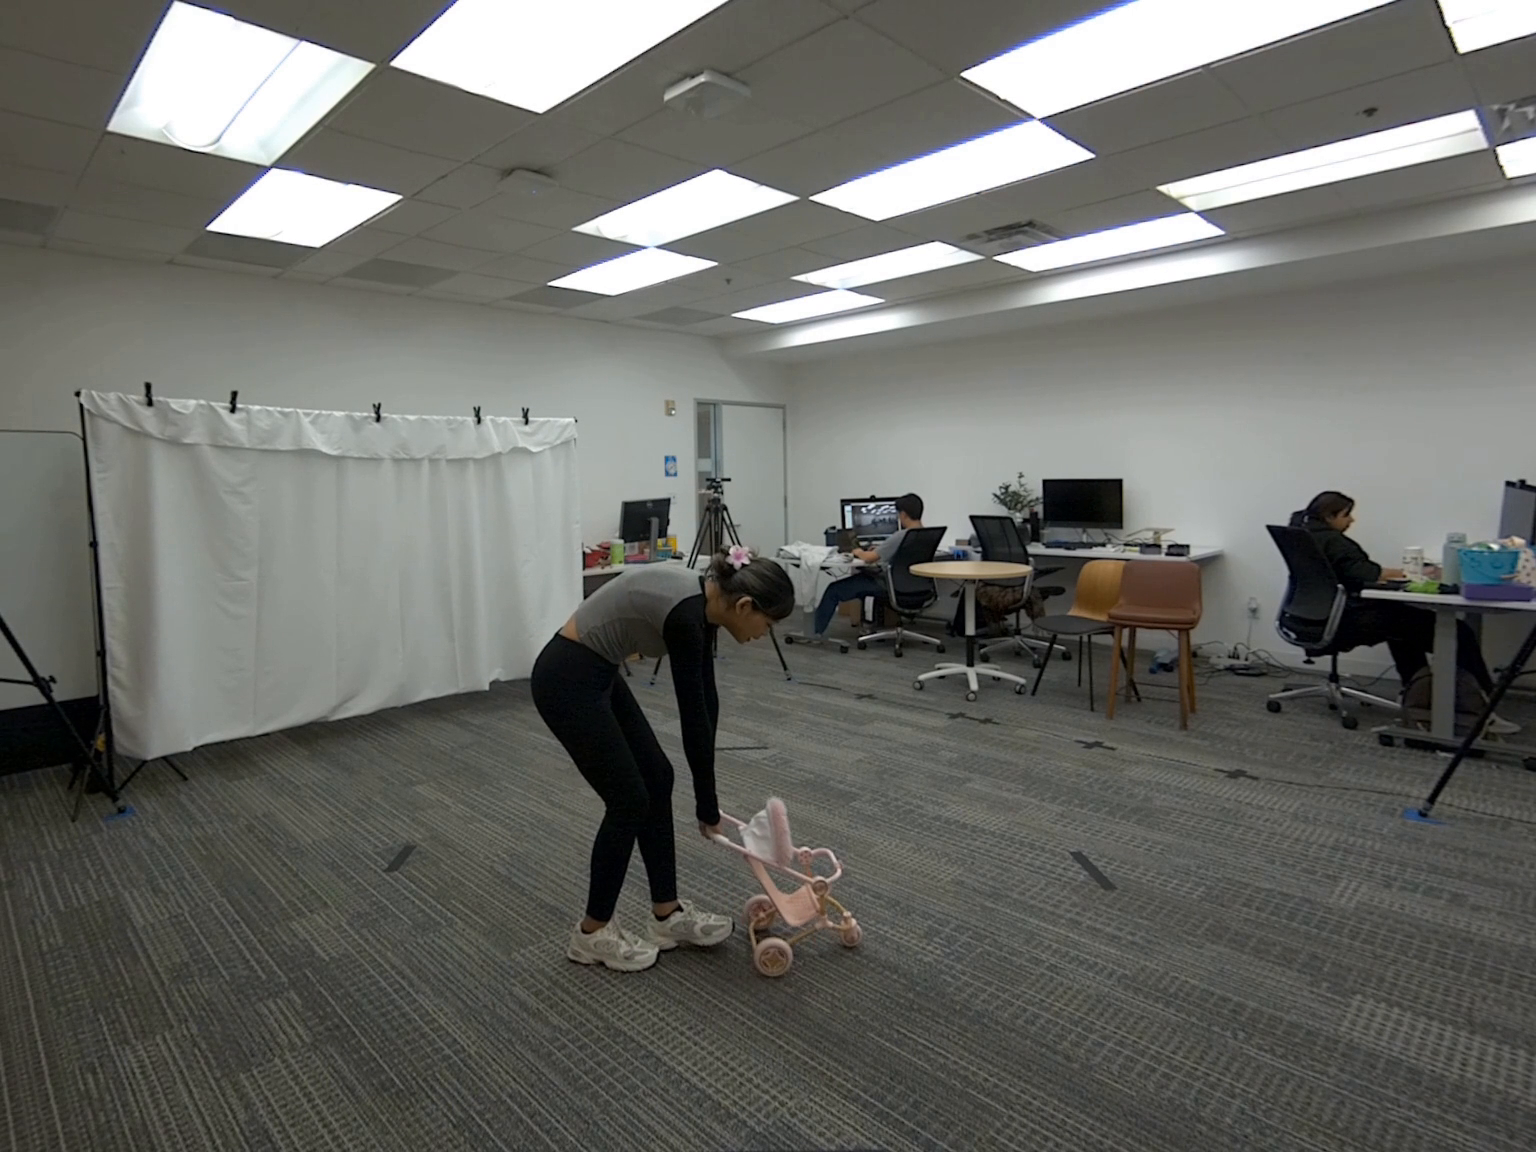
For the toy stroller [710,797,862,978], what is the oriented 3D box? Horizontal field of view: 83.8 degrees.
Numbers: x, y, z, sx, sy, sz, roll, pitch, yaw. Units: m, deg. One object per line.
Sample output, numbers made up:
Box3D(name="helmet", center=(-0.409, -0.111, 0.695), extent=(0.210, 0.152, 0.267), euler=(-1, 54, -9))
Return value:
Box3D(name="toy stroller", center=(0.058, 0.887, 2.510), extent=(0.341, 0.532, 0.283), euler=(-18, 6, -1))
